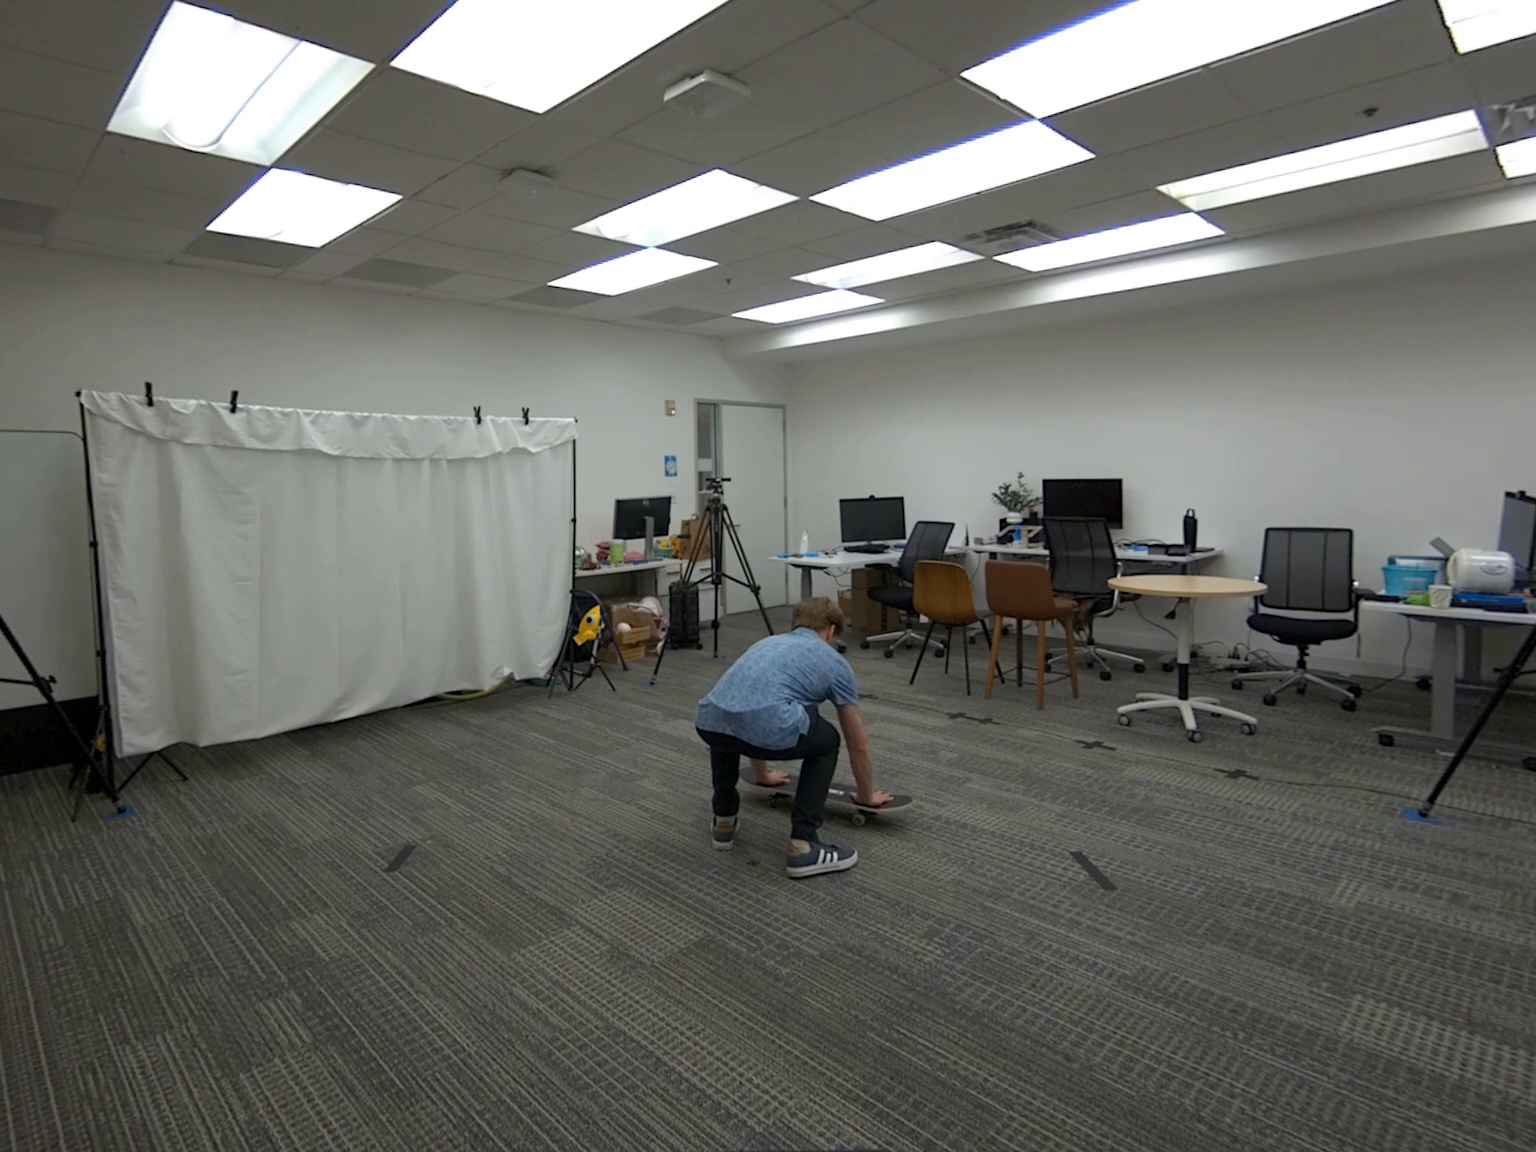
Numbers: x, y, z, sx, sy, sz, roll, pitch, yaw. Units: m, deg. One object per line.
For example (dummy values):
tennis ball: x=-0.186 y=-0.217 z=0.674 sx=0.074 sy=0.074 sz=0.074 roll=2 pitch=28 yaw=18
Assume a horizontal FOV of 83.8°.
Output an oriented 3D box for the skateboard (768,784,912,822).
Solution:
skateboard: x=0.217 y=0.926 z=3.581 sx=0.806 sy=0.110 sz=0.189 roll=3 pitch=5 yaw=30
